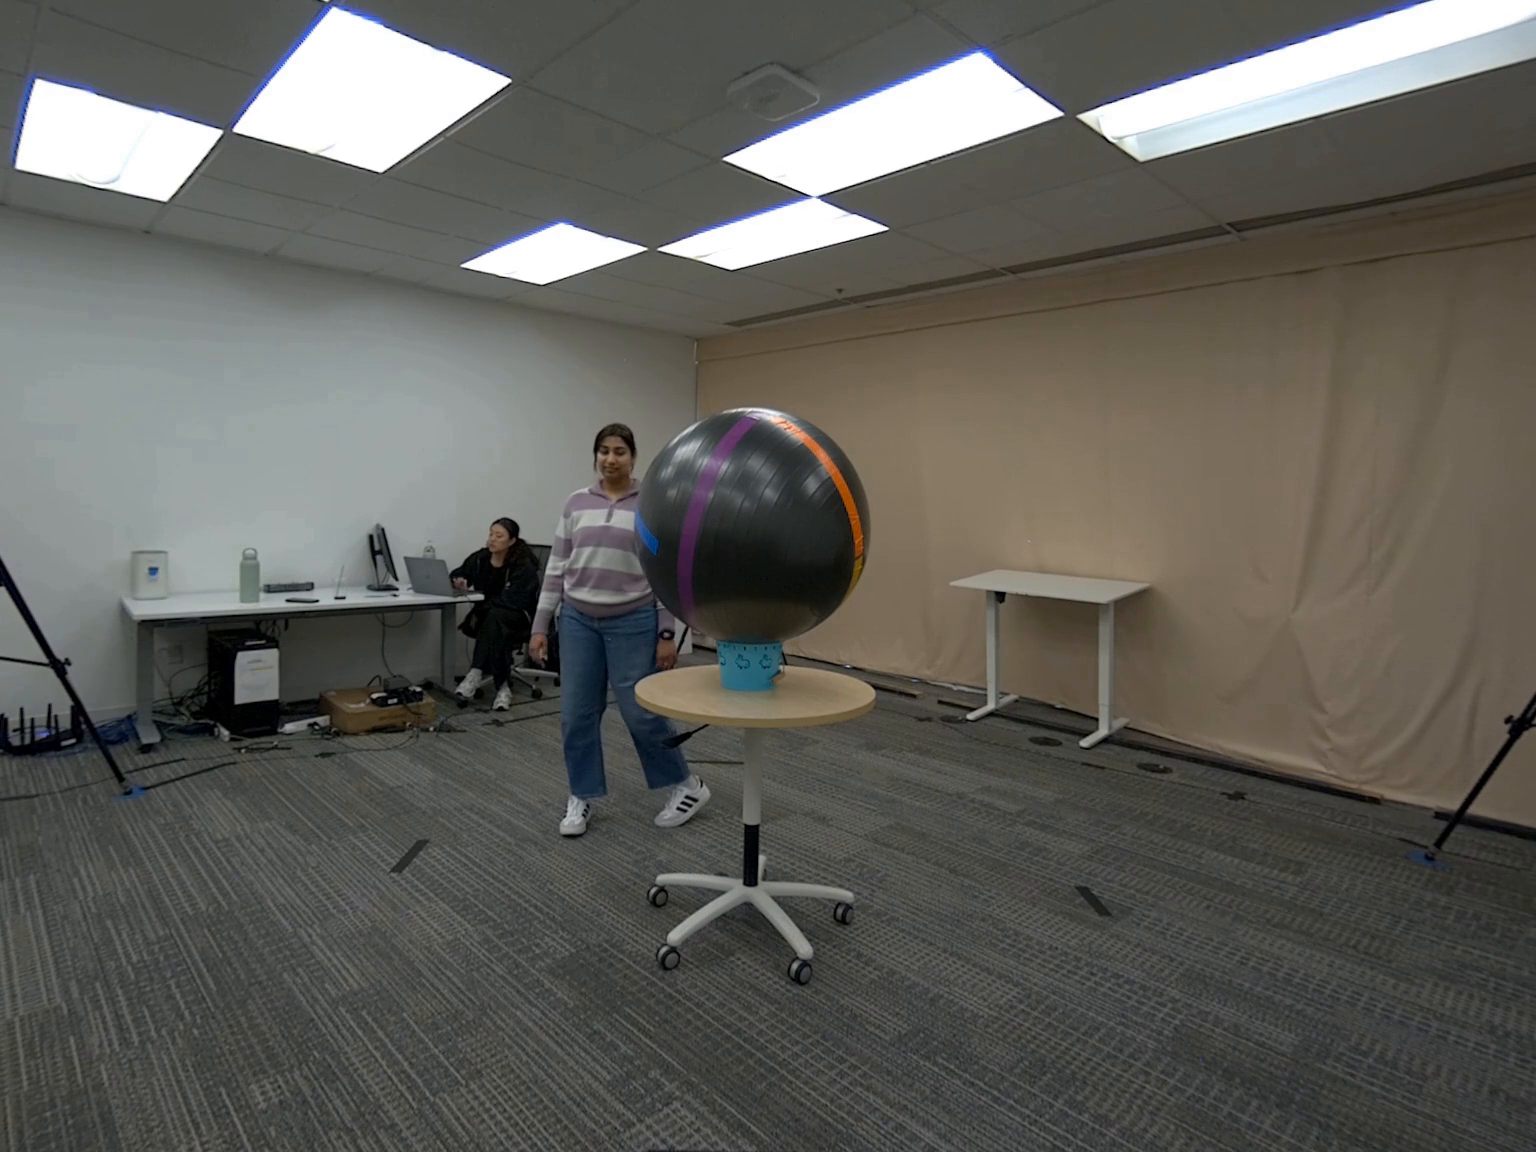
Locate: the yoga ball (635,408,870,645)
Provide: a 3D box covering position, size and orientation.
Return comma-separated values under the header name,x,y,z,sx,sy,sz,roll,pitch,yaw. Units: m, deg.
name,x,y,z,sx,sy,sz,roll,pitch,yaw
yoga ball,-0.051,-0.152,2.712,0.757,0.756,0.761,1,4,-1
